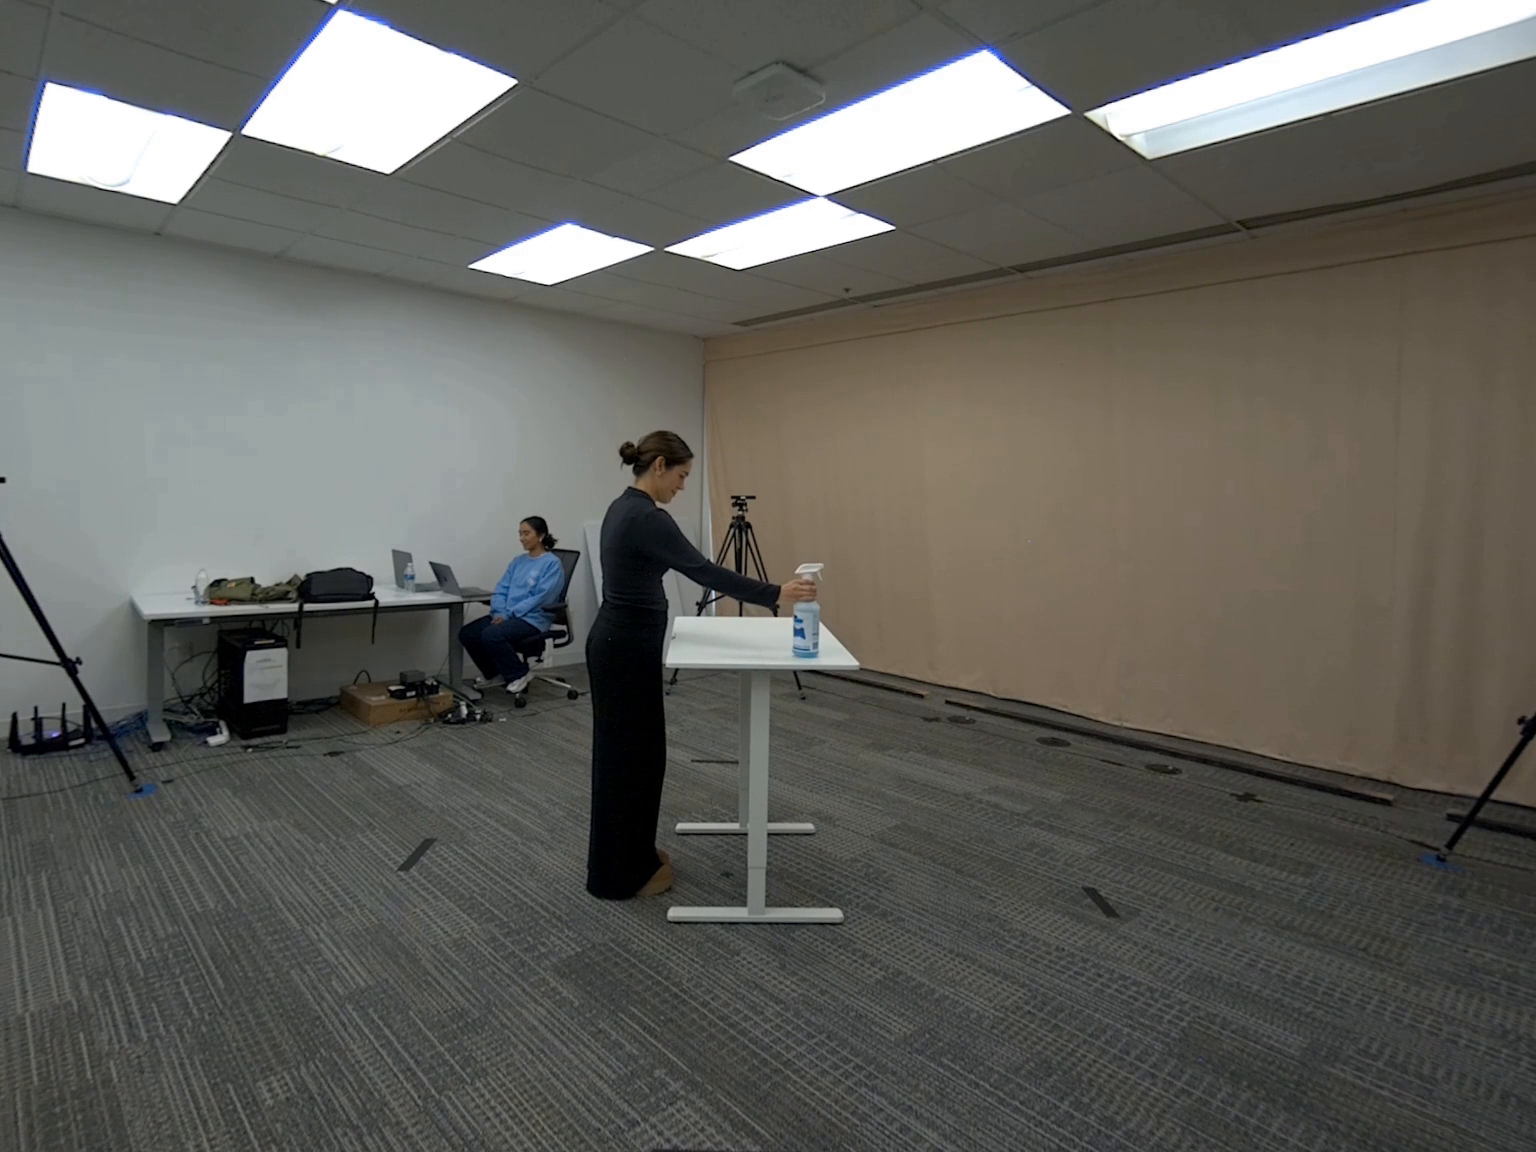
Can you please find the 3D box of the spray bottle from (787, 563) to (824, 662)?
[{"bbox_3d":[0.118,0.113,2.708,0.091,0.296,0.086,2,5,21],"label":"spray bottle"}]
